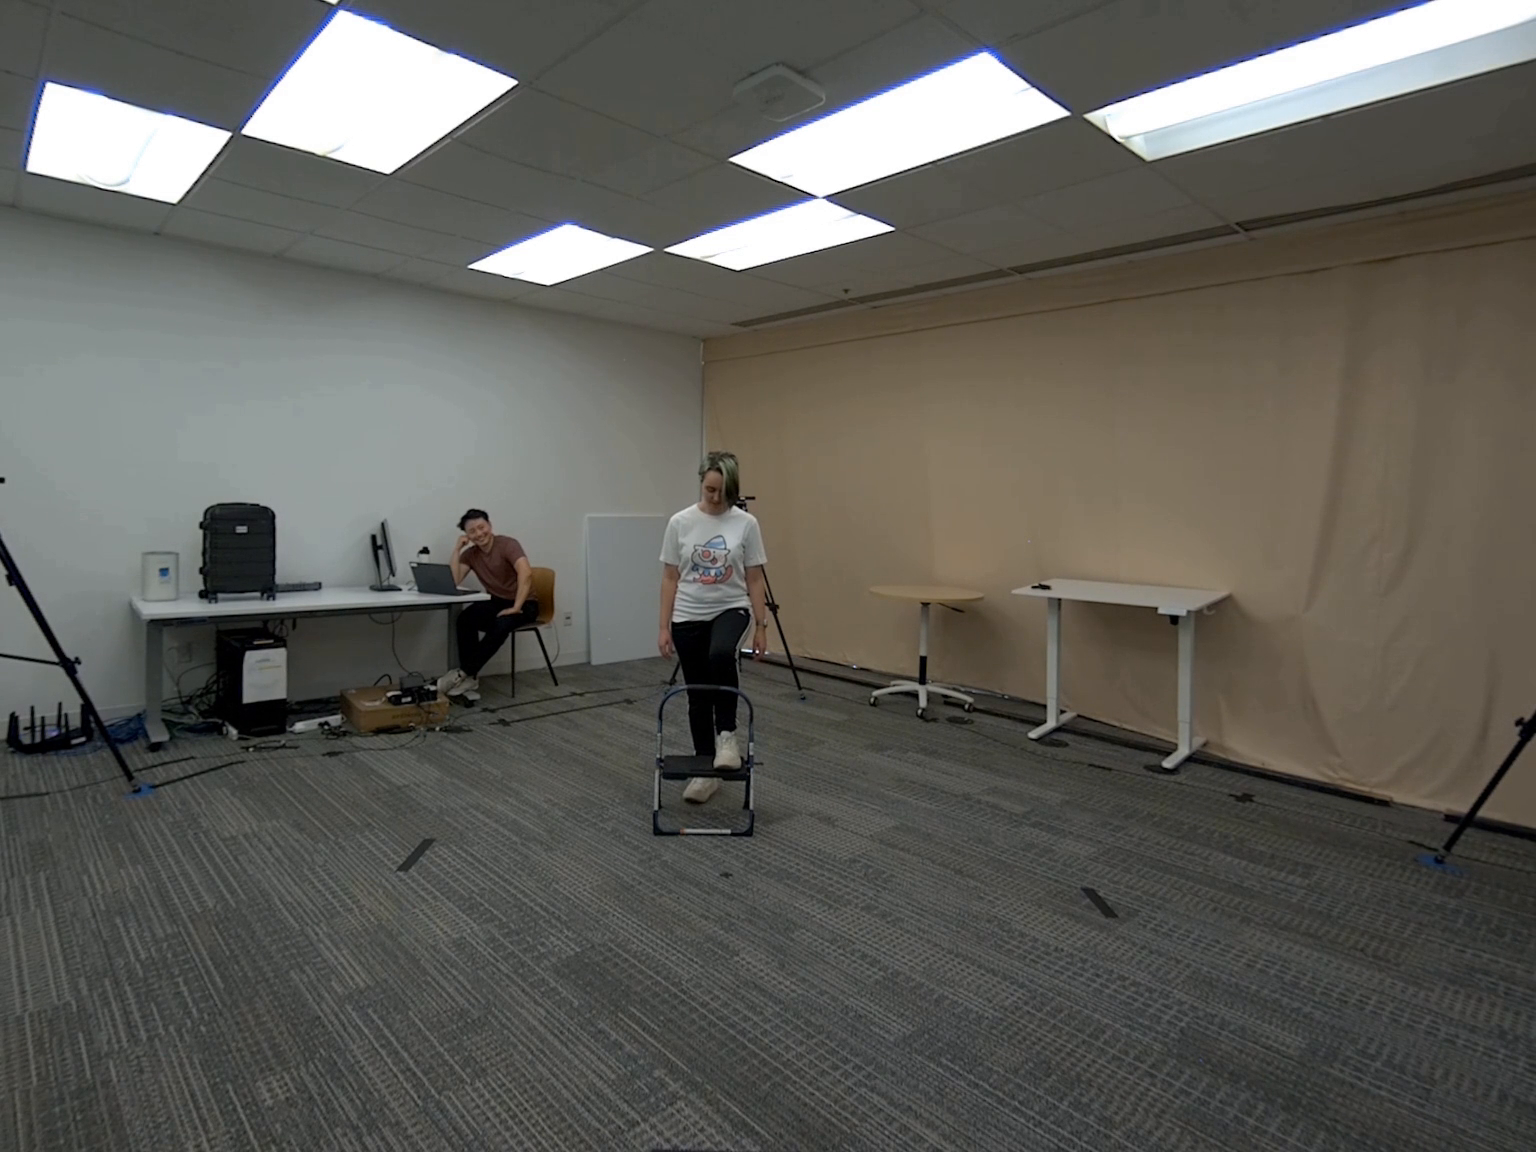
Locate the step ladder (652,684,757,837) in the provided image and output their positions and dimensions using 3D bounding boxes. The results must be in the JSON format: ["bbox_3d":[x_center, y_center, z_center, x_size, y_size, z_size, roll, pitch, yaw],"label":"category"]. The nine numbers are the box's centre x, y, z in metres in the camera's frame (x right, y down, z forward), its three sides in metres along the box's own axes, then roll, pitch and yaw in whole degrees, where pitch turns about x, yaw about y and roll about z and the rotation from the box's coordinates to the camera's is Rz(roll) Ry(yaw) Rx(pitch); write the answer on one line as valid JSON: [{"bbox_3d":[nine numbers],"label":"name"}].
[{"bbox_3d":[-0.284,0.760,3.616,0.429,0.605,0.351,1,3,-5],"label":"step ladder"}]
